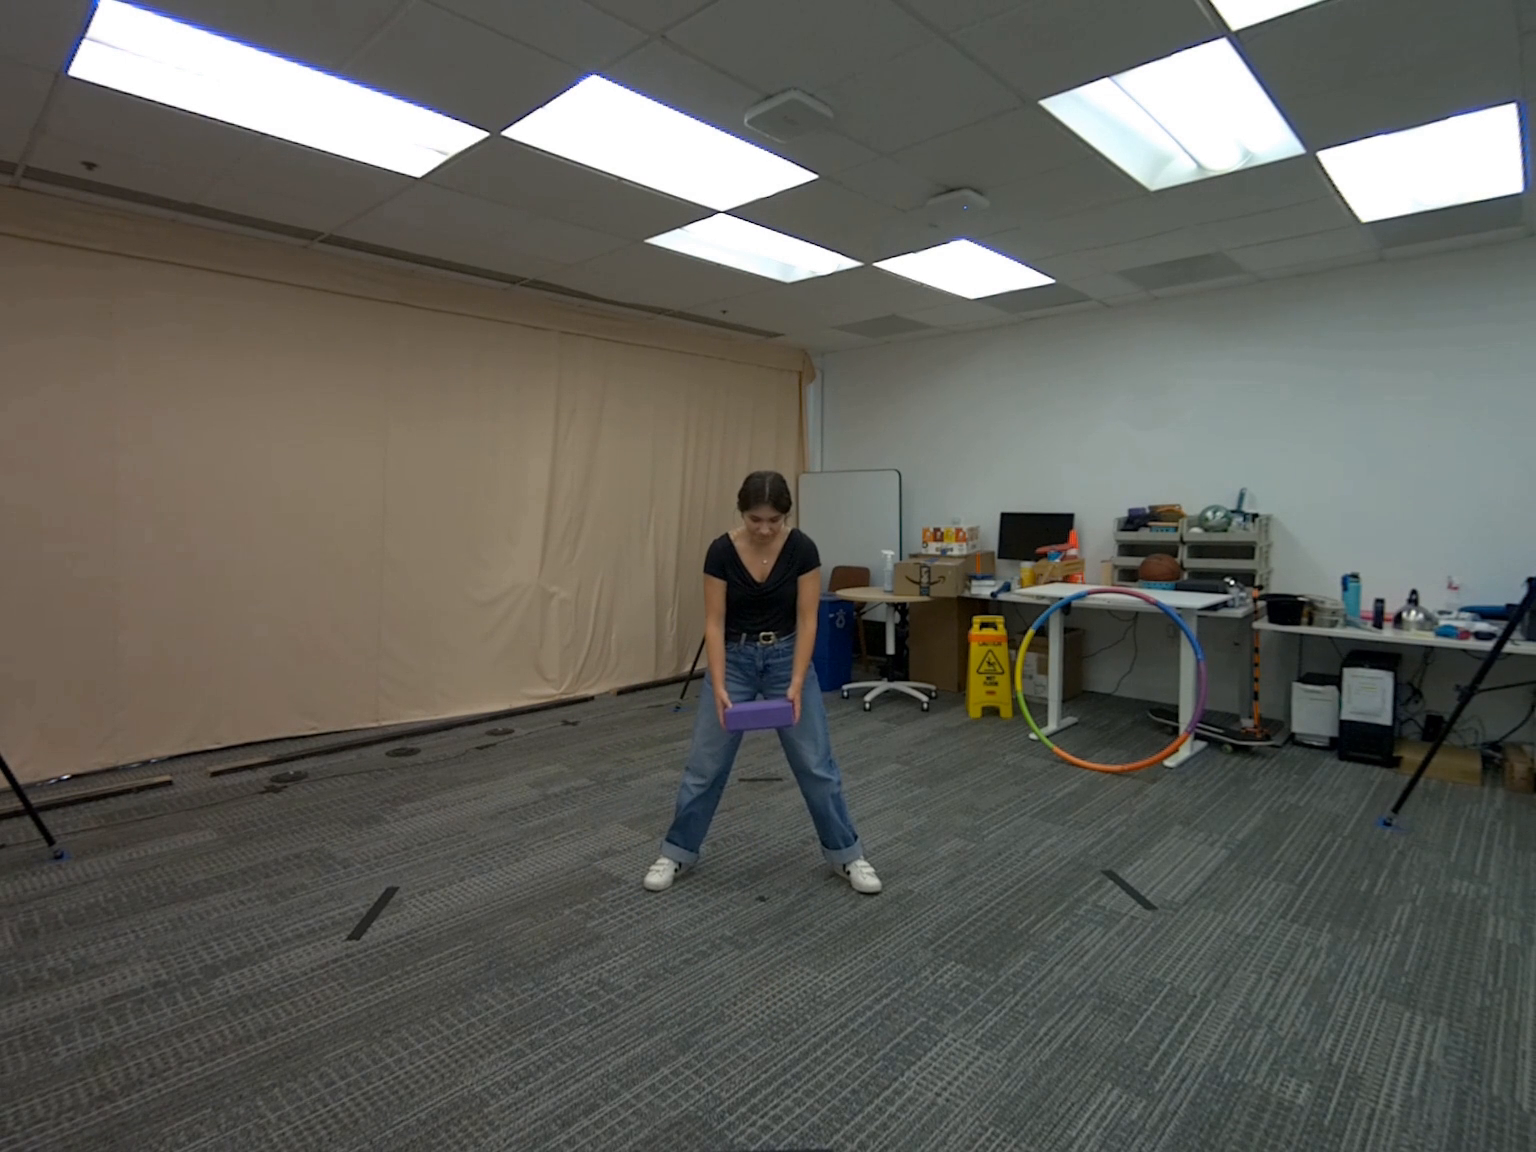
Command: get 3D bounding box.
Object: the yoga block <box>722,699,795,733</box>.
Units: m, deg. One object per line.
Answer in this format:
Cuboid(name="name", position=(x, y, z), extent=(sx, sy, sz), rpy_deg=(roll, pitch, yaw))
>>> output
Cuboid(name="yoga block", position=(-0.022, 0.466, 2.856), extent=(0.230, 0.076, 0.149), rpy_deg=(-6, 1, 2))
